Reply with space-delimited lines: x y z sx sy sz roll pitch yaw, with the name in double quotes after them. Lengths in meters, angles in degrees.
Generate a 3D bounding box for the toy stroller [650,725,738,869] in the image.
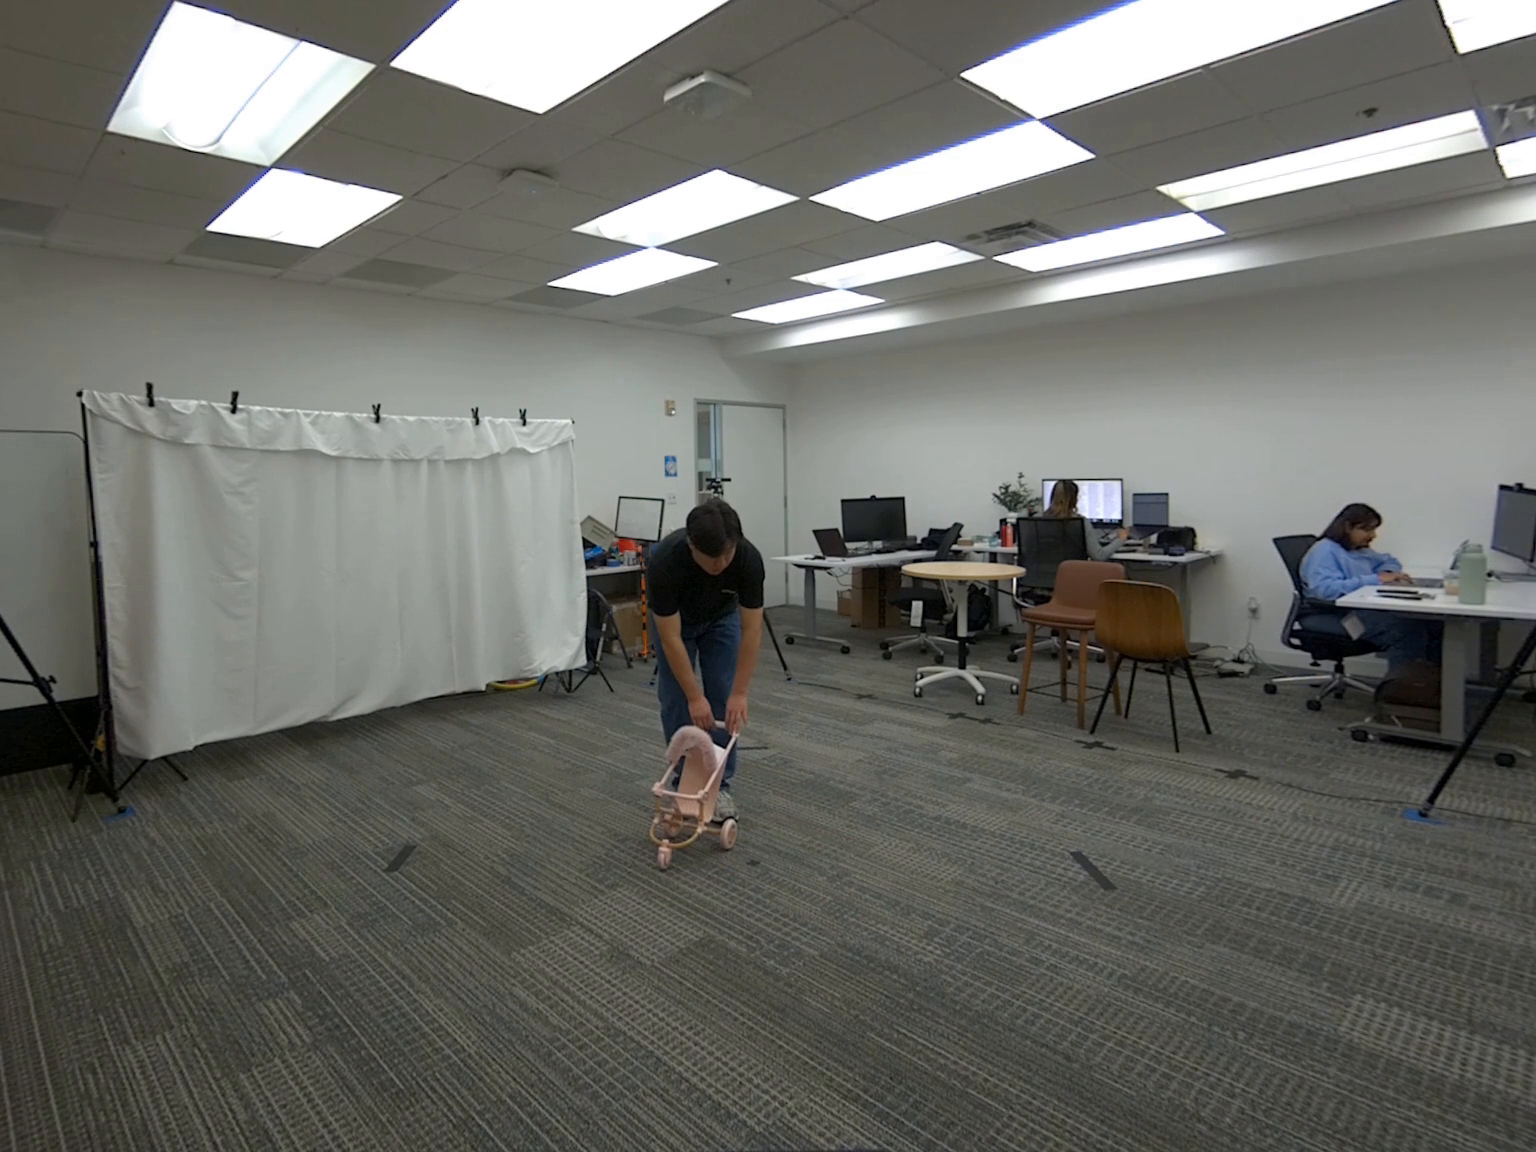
-0.297 0.814 3.222 0.289 0.539 0.329 0 -12 32 "toy stroller"
